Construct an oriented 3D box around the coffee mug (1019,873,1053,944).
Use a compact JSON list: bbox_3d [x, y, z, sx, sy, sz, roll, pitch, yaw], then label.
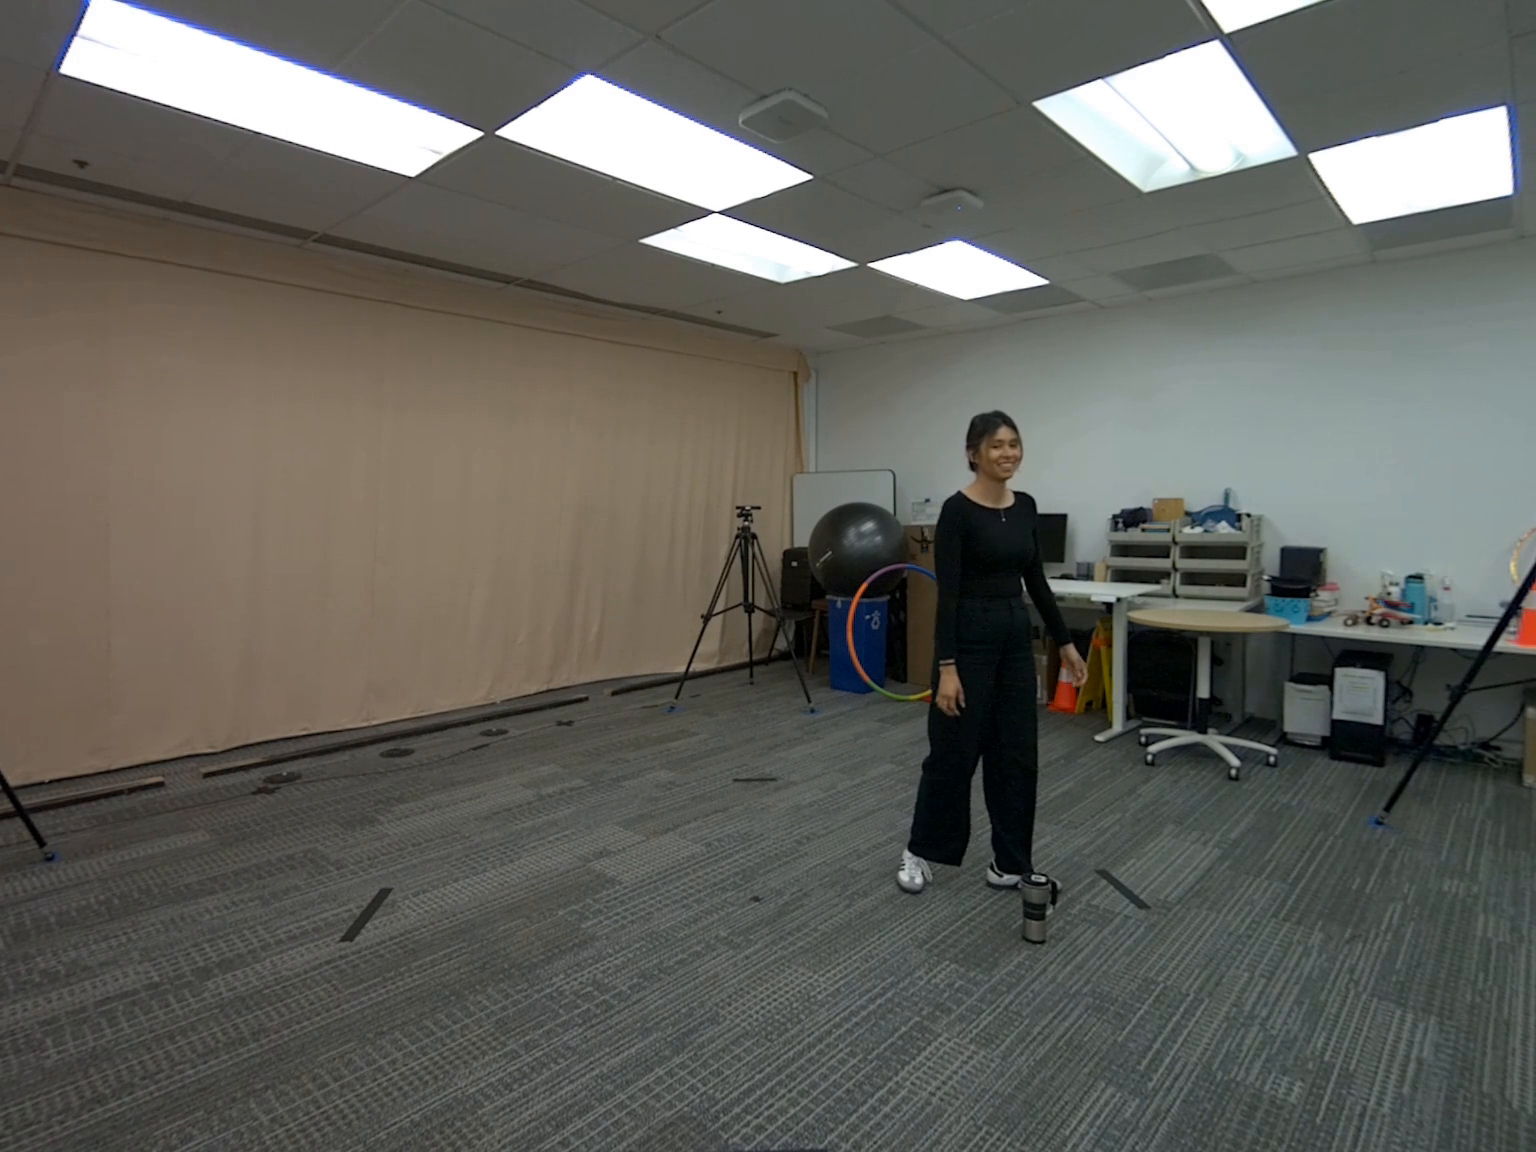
[{"bbox_3d":[0.884,1.069,2.686,0.122,0.203,0.087,-3,0,4],"label":"coffee mug"}]
